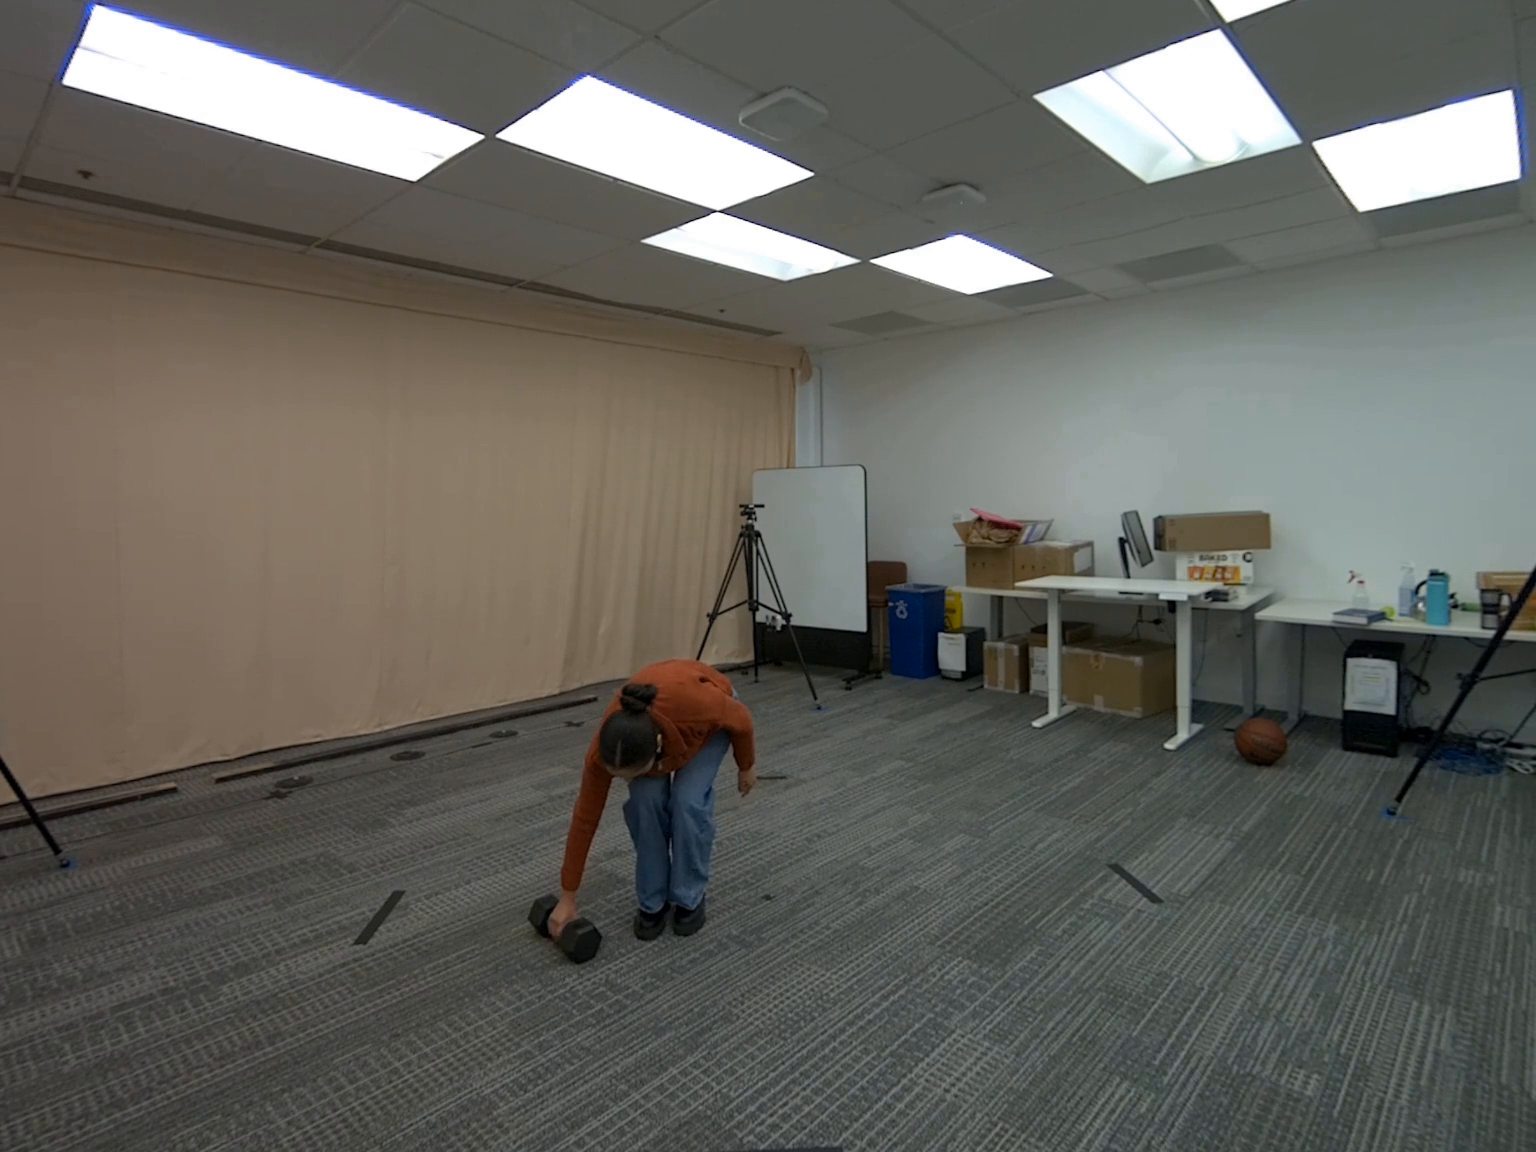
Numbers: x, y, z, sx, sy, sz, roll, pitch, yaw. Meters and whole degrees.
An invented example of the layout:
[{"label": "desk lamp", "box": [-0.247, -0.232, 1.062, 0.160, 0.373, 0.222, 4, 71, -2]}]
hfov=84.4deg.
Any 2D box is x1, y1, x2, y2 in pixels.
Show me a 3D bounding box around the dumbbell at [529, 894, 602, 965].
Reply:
[{"label": "dumbbell", "box": [-0.646, 1.120, 2.690, 0.105, 0.123, 0.303, 33, -19, -37]}]
